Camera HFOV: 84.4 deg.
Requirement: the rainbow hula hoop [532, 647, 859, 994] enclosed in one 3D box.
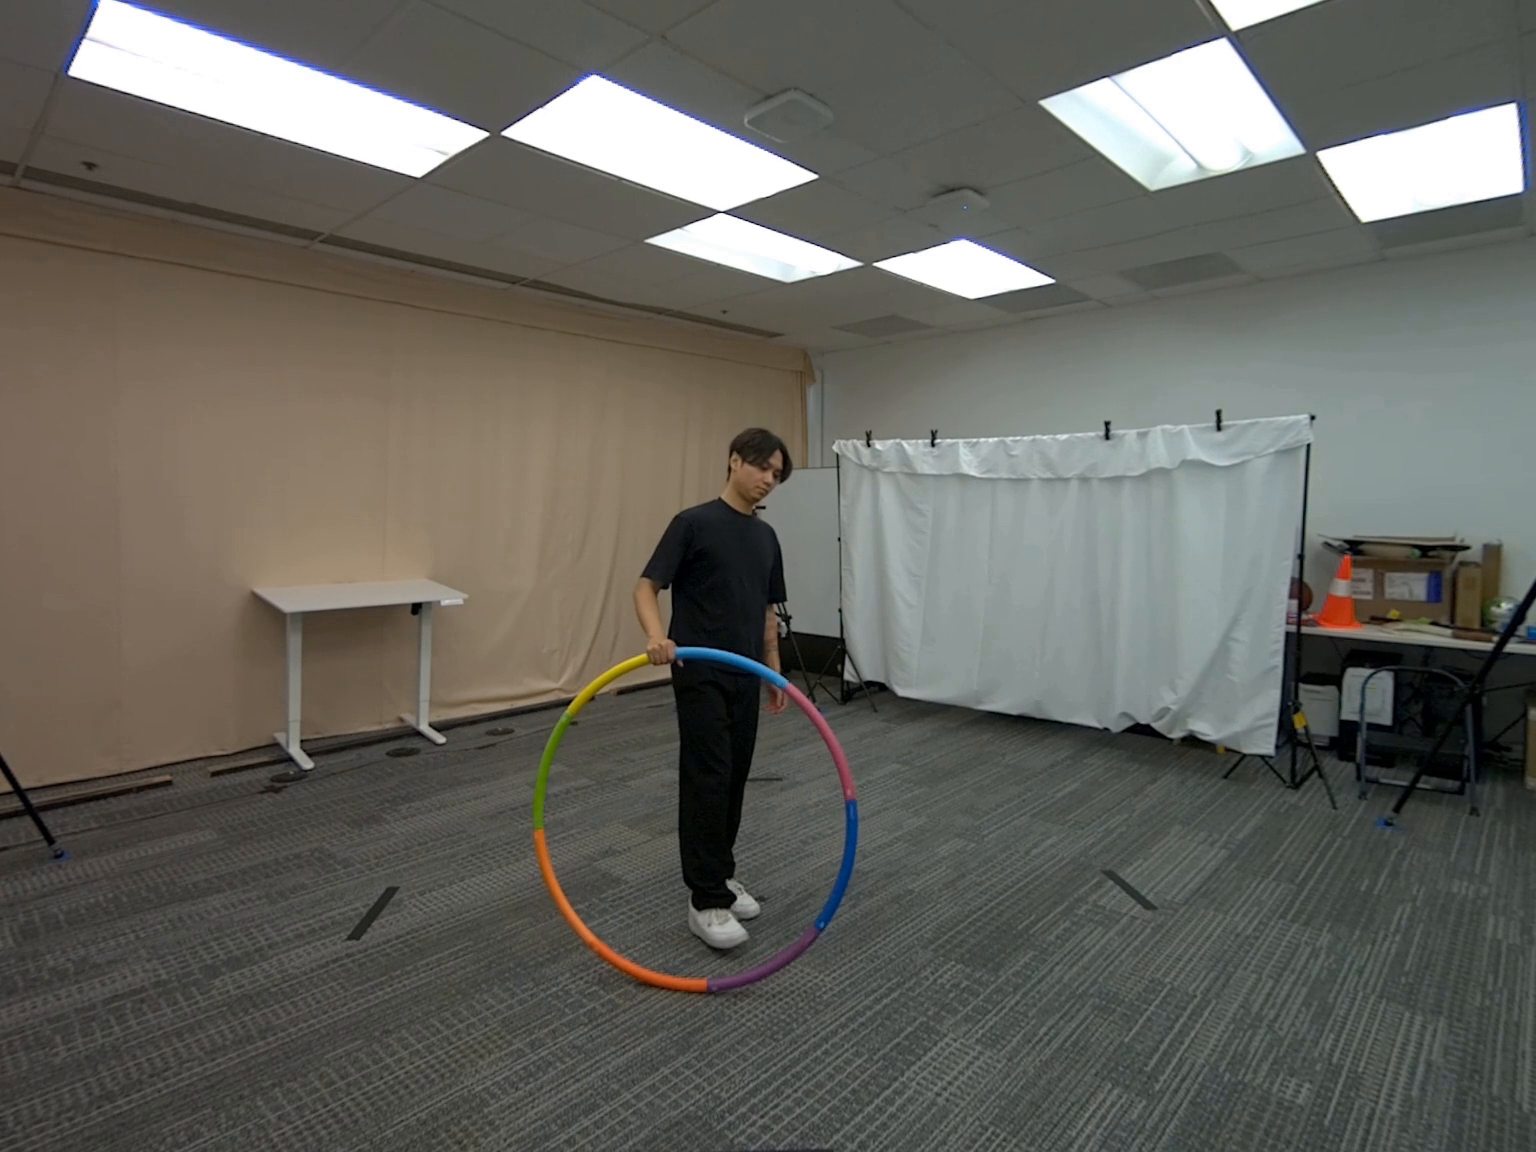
[{"bbox_3d":[-0.228,0.708,2.477,0.992,0.982,0.035,1,-7,13],"label":"rainbow hula hoop"}]
